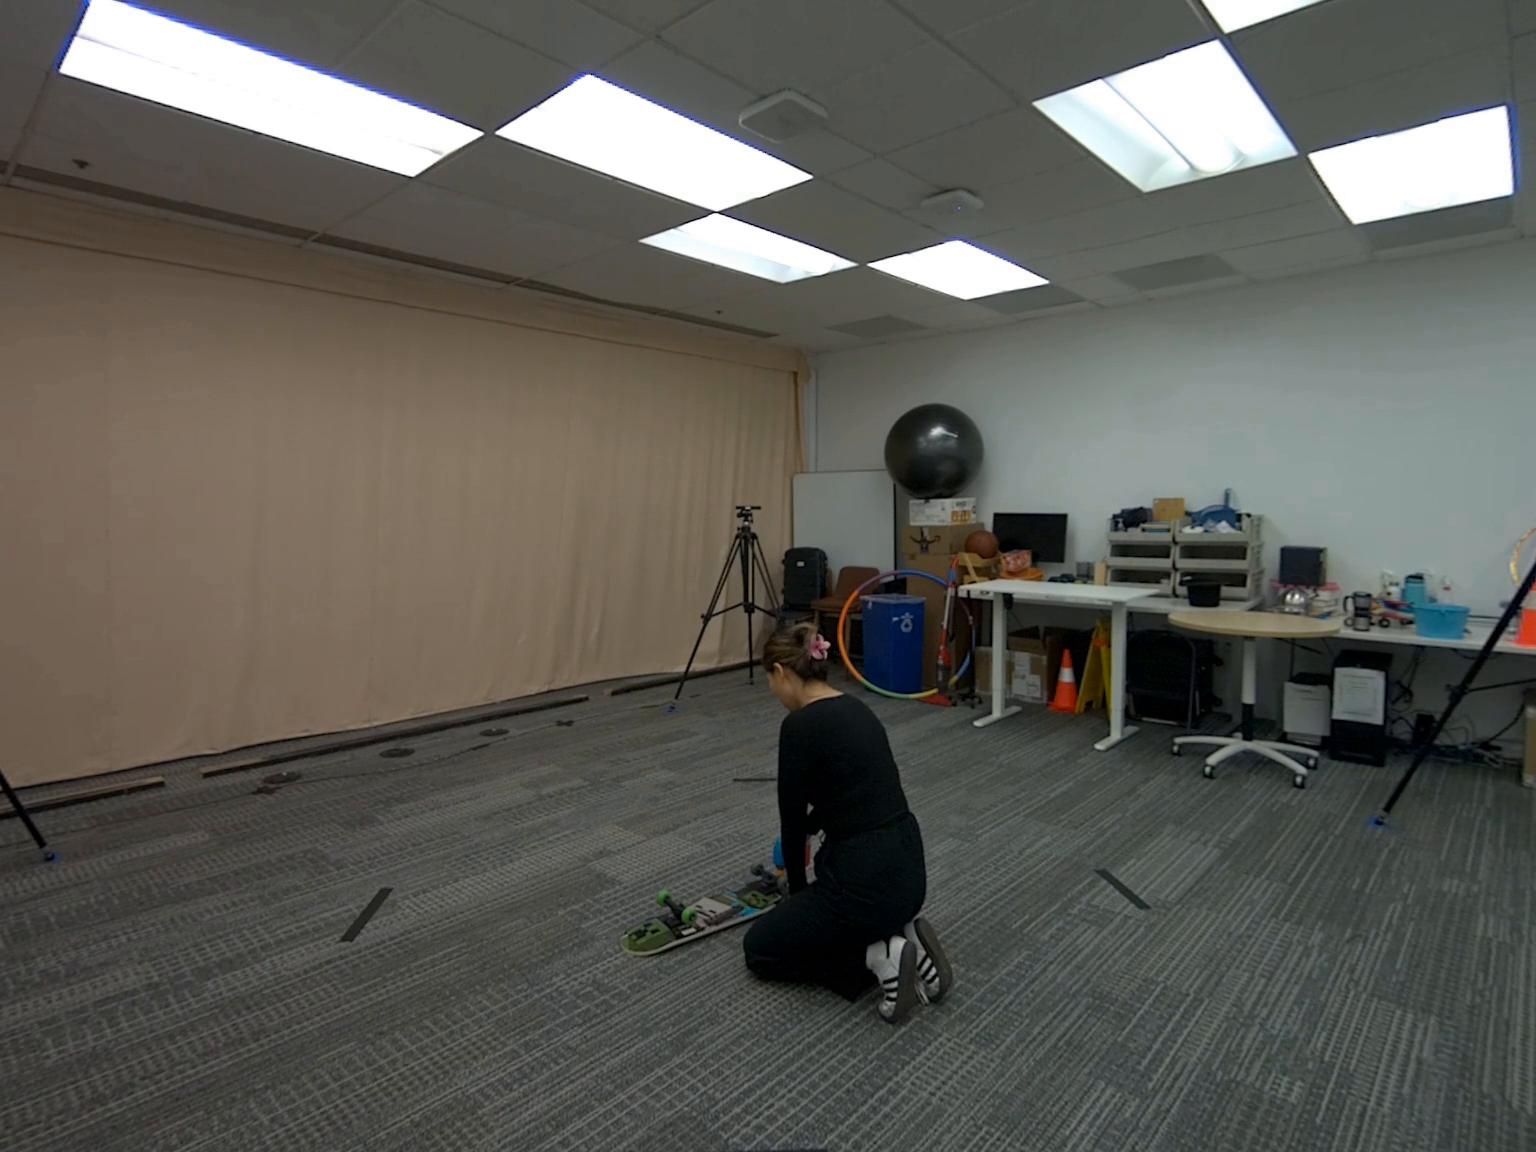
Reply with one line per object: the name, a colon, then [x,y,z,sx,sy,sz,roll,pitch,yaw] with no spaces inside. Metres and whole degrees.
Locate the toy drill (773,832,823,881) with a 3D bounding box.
toy drill: [0.087,1.018,2.962,0.150,0.170,0.059,-4,-8,39]
